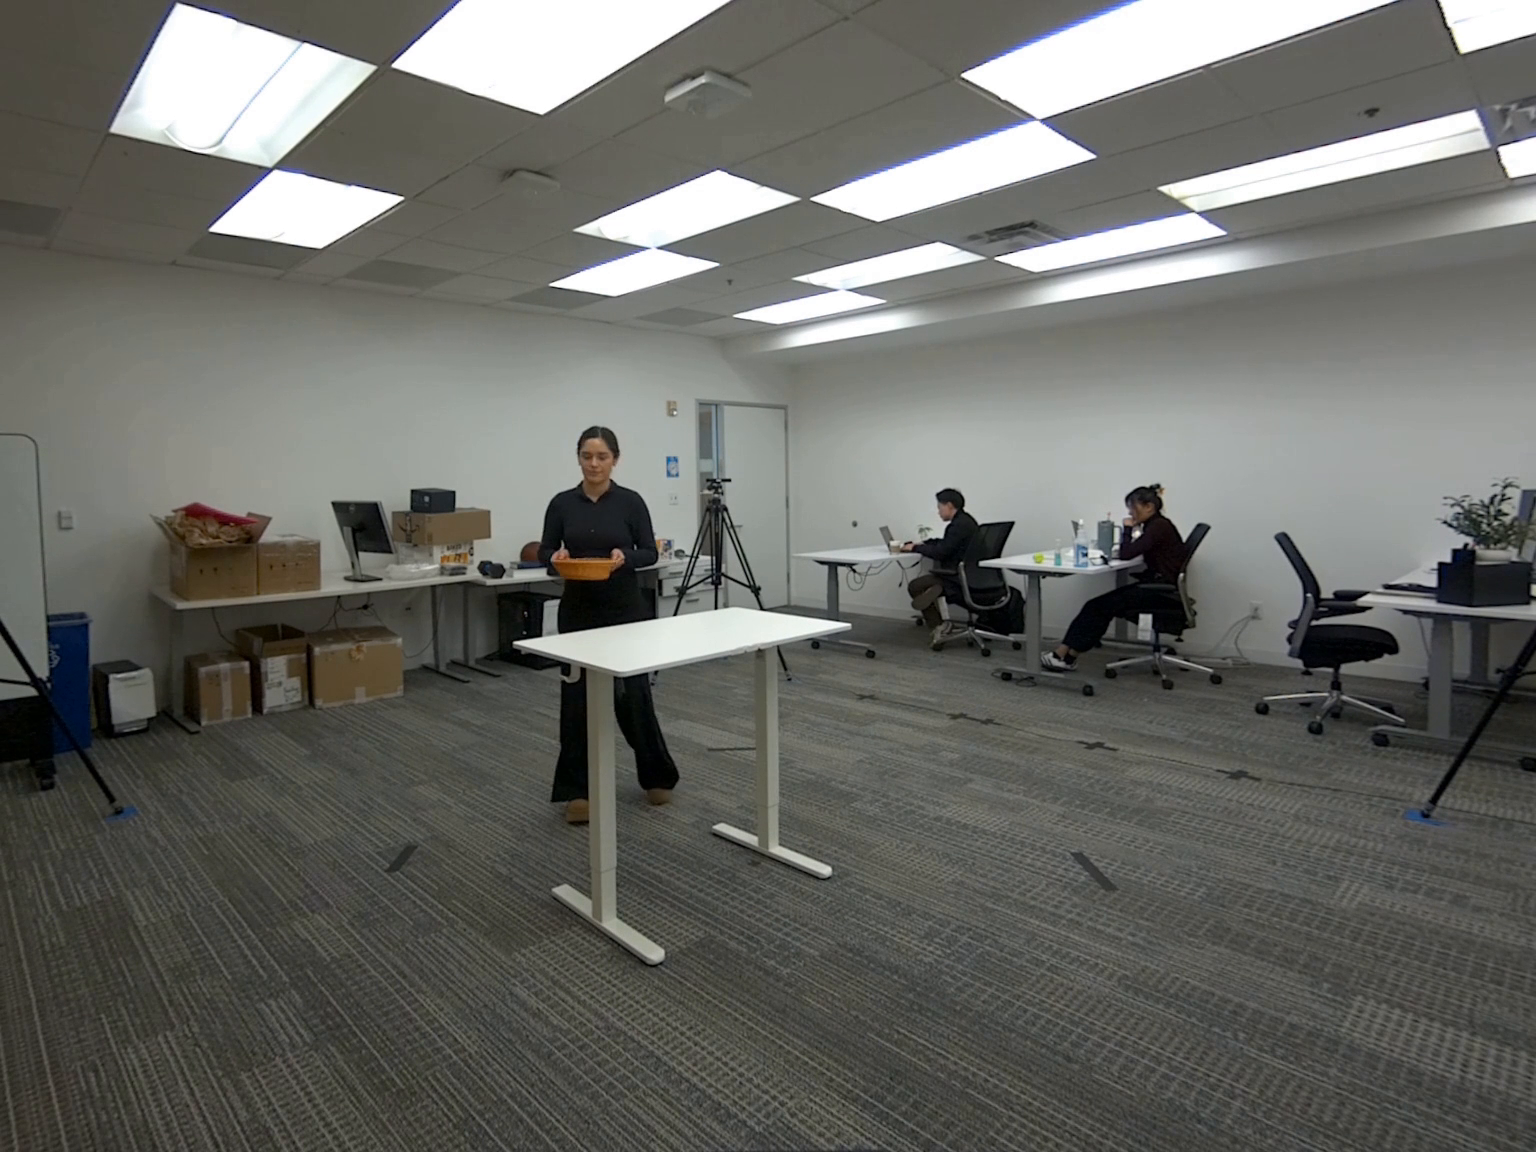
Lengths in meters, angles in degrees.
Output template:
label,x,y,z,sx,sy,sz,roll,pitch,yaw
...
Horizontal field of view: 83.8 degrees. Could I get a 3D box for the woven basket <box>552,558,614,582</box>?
label,x,y,z,sx,sy,sz,roll,pitch,yaw
woven basket,-0.725,-0.037,3.404,0.247,0.073,0.361,-7,10,-30
